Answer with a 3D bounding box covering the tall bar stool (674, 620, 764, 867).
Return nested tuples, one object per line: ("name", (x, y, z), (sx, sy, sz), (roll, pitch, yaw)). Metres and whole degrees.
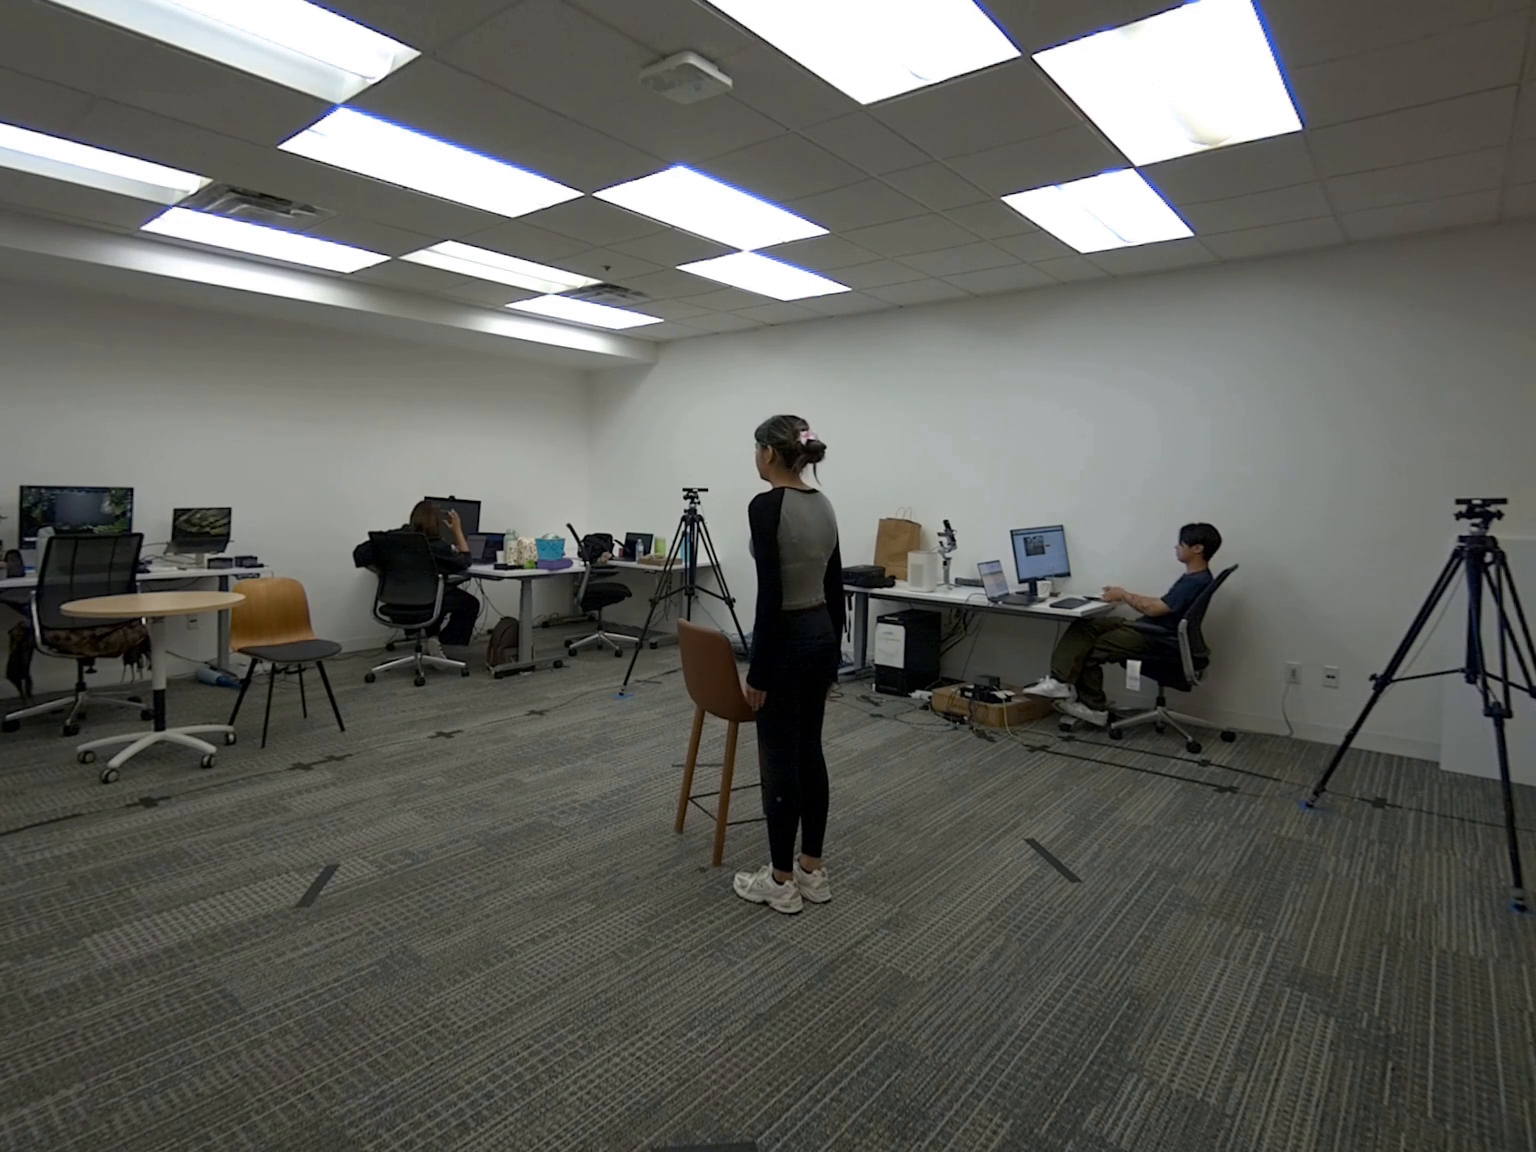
("tall bar stool", (-0.101, 0.609, 3.372), (0.456, 0.886, 0.470), (-2, 5, -29))
